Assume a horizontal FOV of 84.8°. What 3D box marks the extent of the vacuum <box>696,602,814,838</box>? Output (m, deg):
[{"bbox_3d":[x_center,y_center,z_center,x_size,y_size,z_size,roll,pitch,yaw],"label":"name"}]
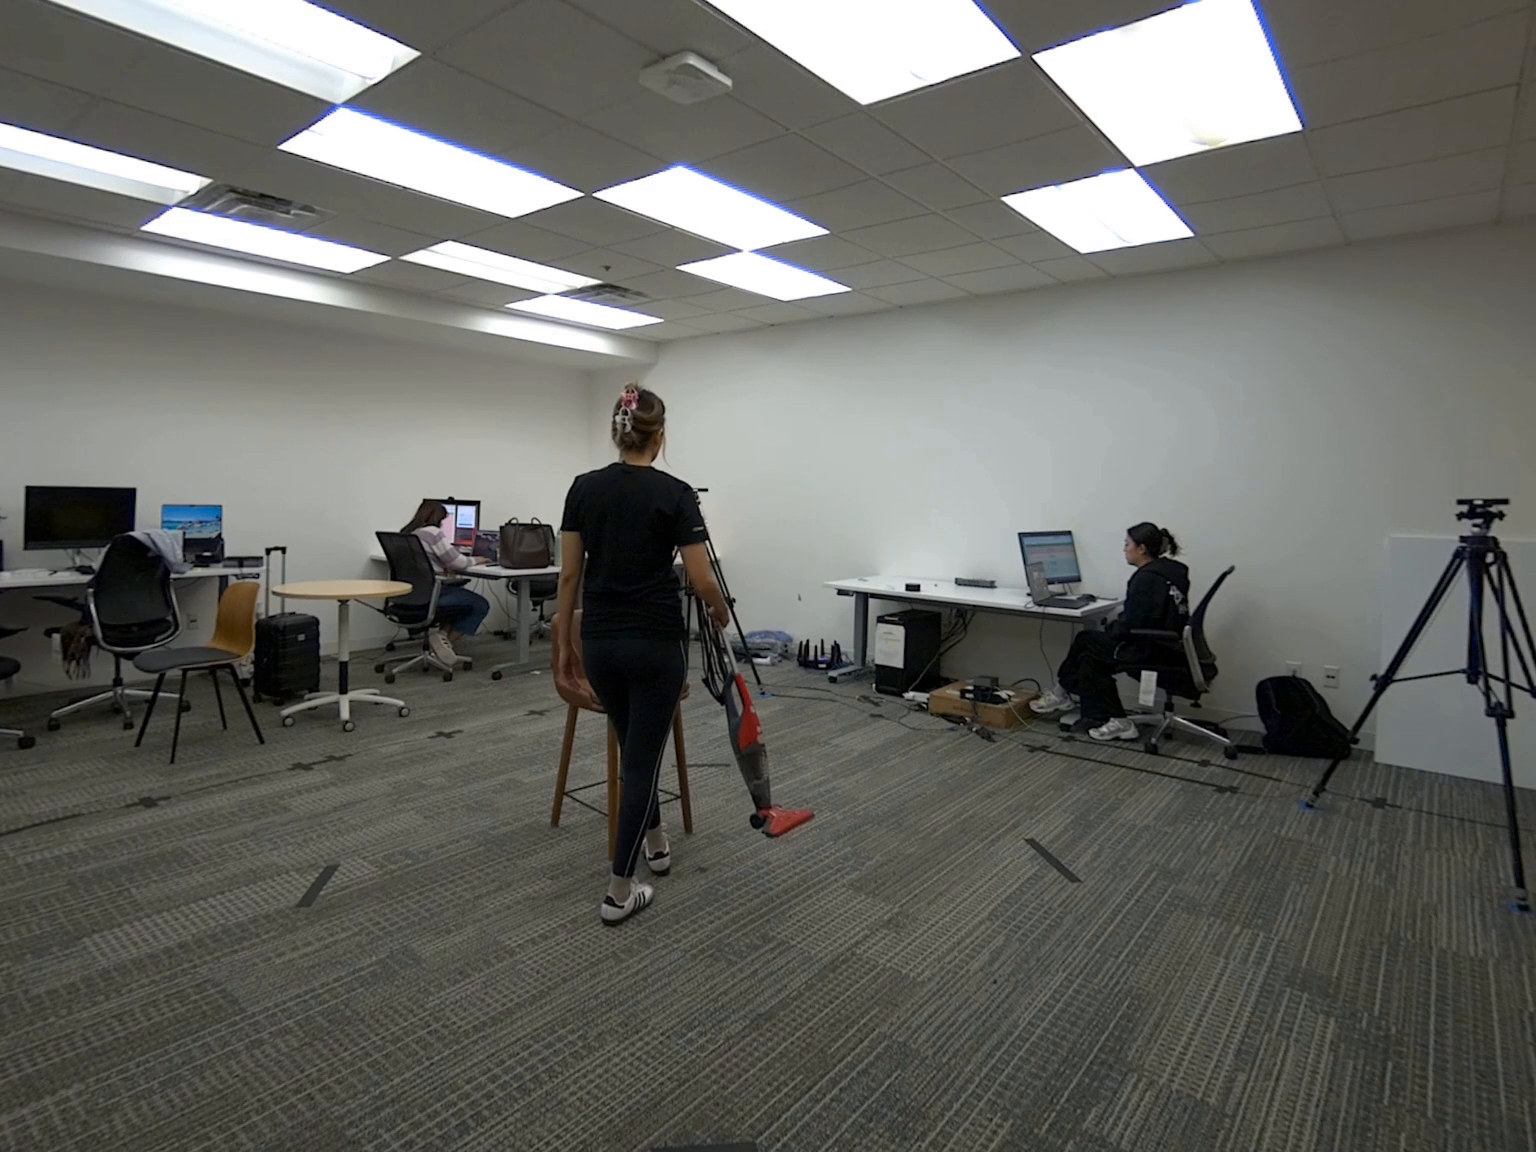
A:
[{"bbox_3d":[-0.149,0.361,3.005,0.146,1.068,0.245,-30,-16,33],"label":"vacuum"}]
